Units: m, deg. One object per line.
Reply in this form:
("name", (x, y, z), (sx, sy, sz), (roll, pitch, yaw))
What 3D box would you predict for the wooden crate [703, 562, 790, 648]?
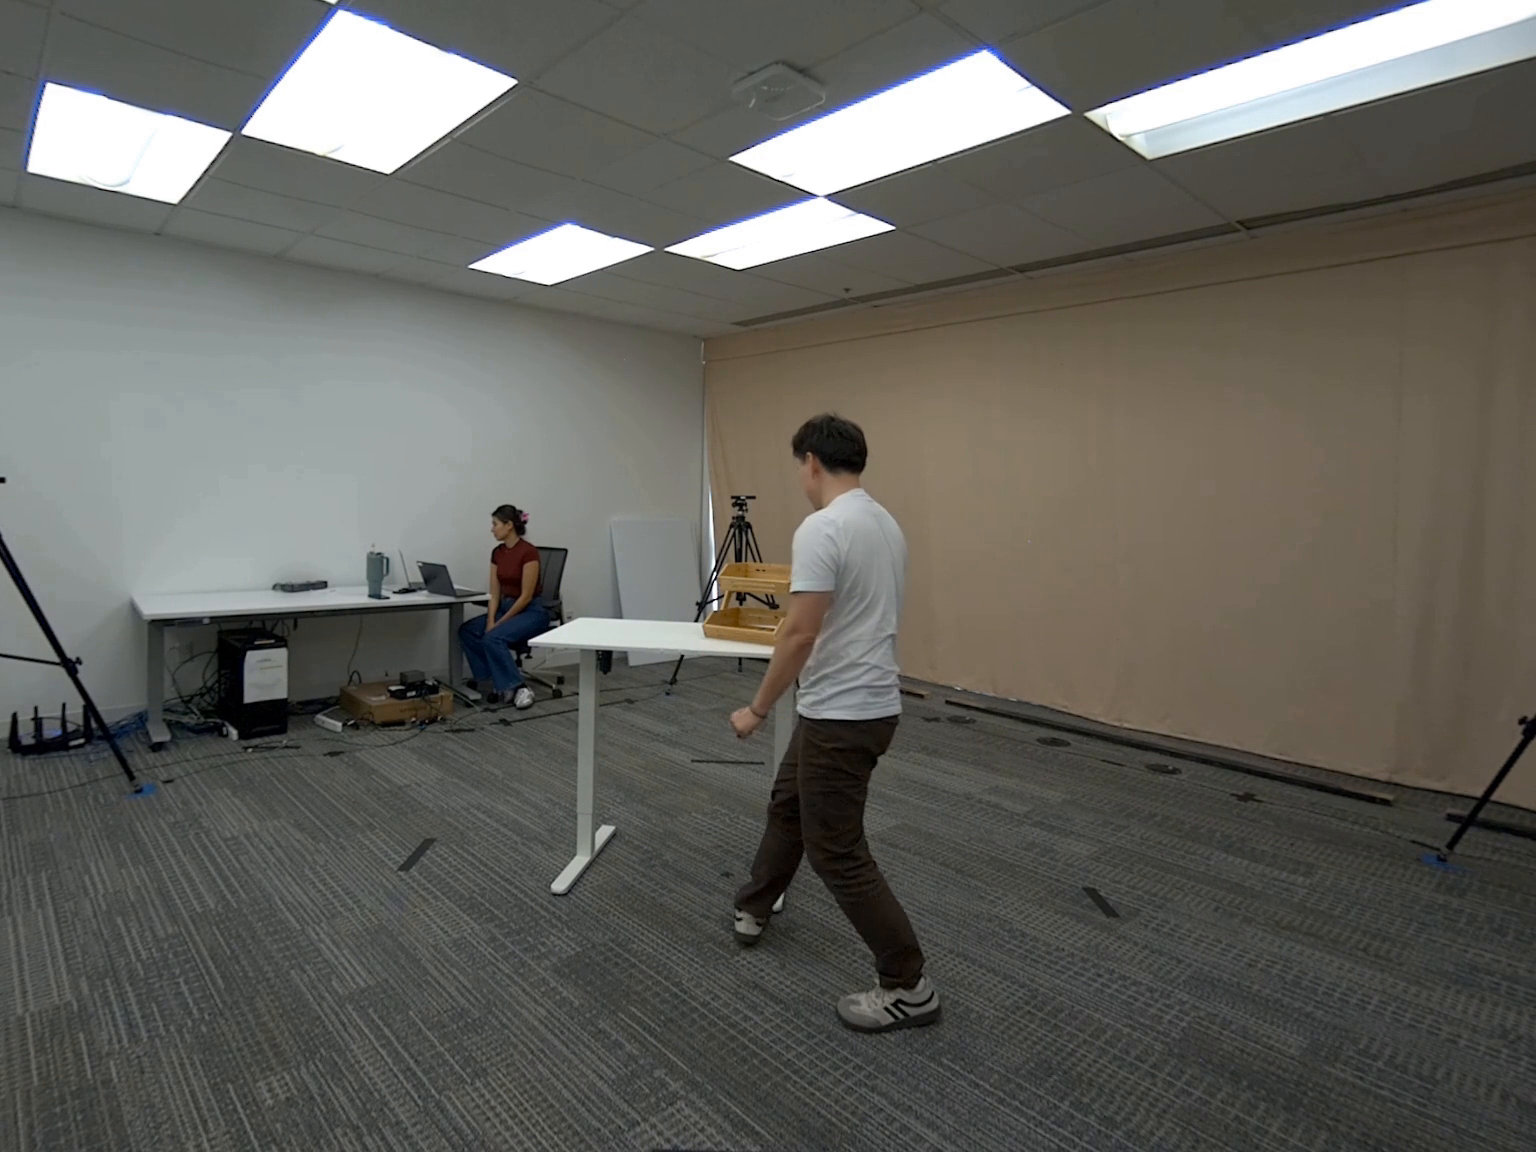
("wooden crate", (-0.045, 0.094, 3.092), (0.331, 0.273, 0.296), (4, 4, 30))
